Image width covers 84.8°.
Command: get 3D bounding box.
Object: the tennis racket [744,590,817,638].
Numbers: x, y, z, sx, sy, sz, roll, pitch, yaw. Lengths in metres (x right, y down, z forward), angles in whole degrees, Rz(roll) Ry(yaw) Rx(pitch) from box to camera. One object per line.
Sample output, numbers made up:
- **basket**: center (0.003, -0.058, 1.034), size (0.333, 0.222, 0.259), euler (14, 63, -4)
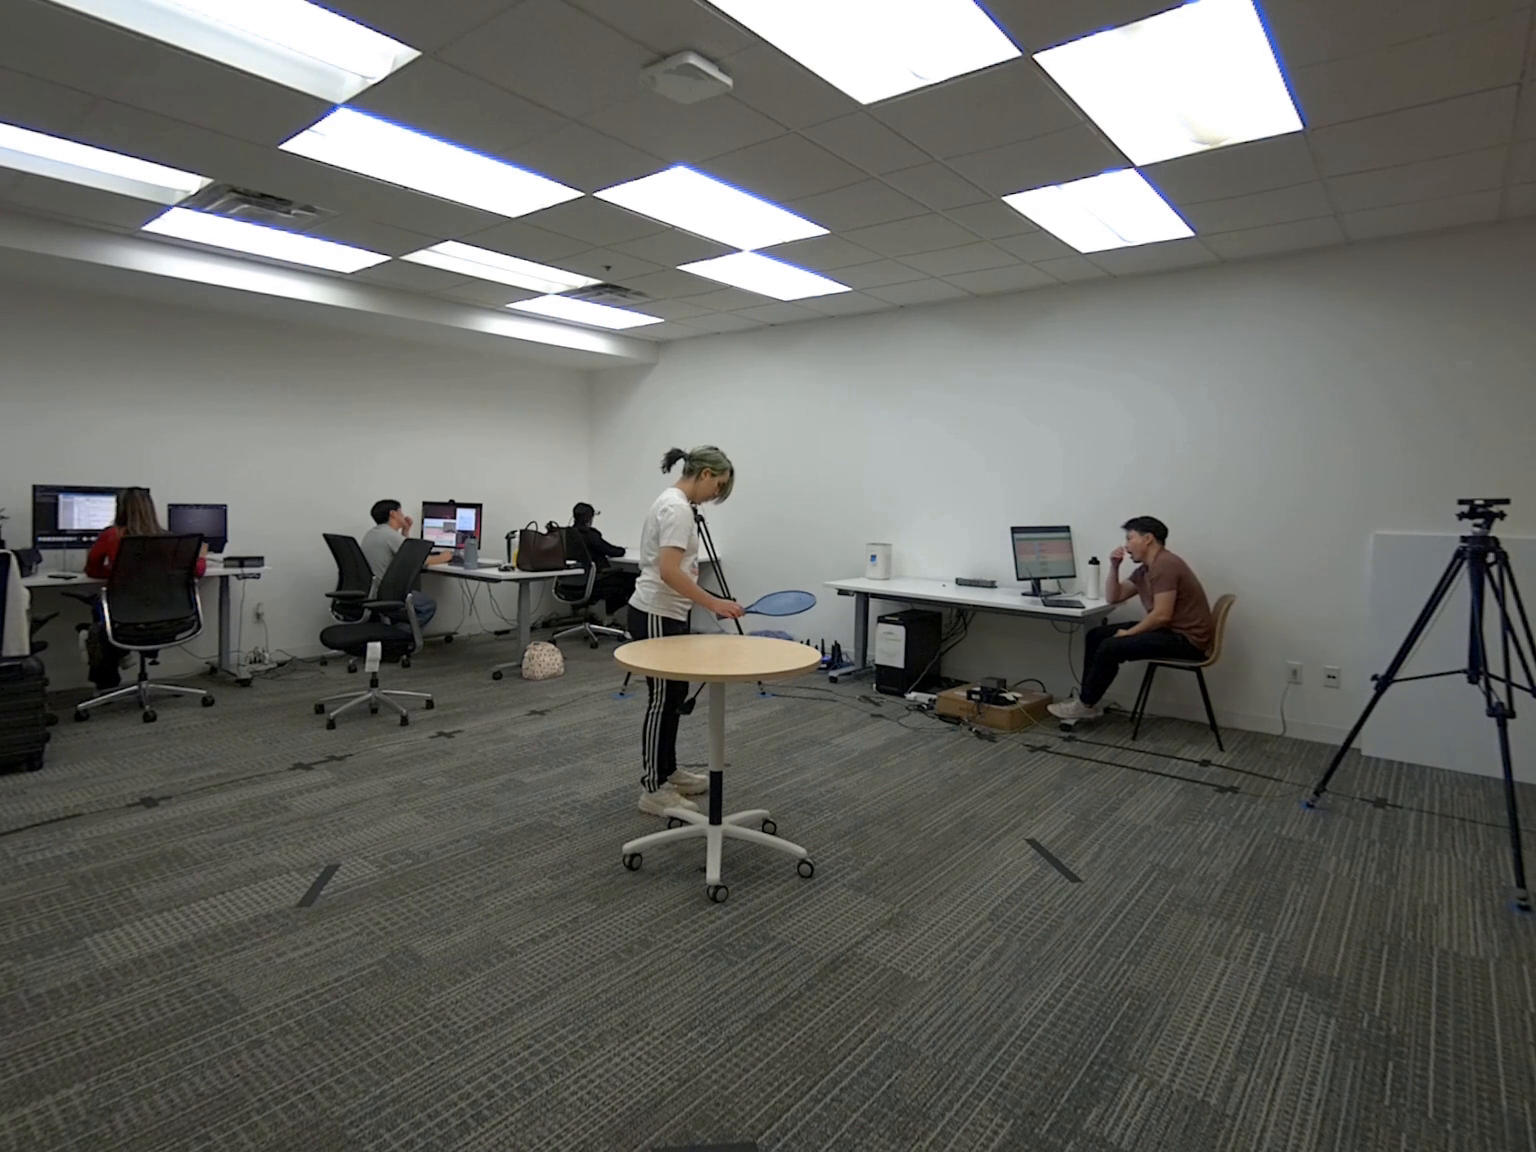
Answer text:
- **tennis racket**: center (-0.021, 0.133, 3.601), size (0.432, 0.031, 0.219), euler (-9, 25, -3)
